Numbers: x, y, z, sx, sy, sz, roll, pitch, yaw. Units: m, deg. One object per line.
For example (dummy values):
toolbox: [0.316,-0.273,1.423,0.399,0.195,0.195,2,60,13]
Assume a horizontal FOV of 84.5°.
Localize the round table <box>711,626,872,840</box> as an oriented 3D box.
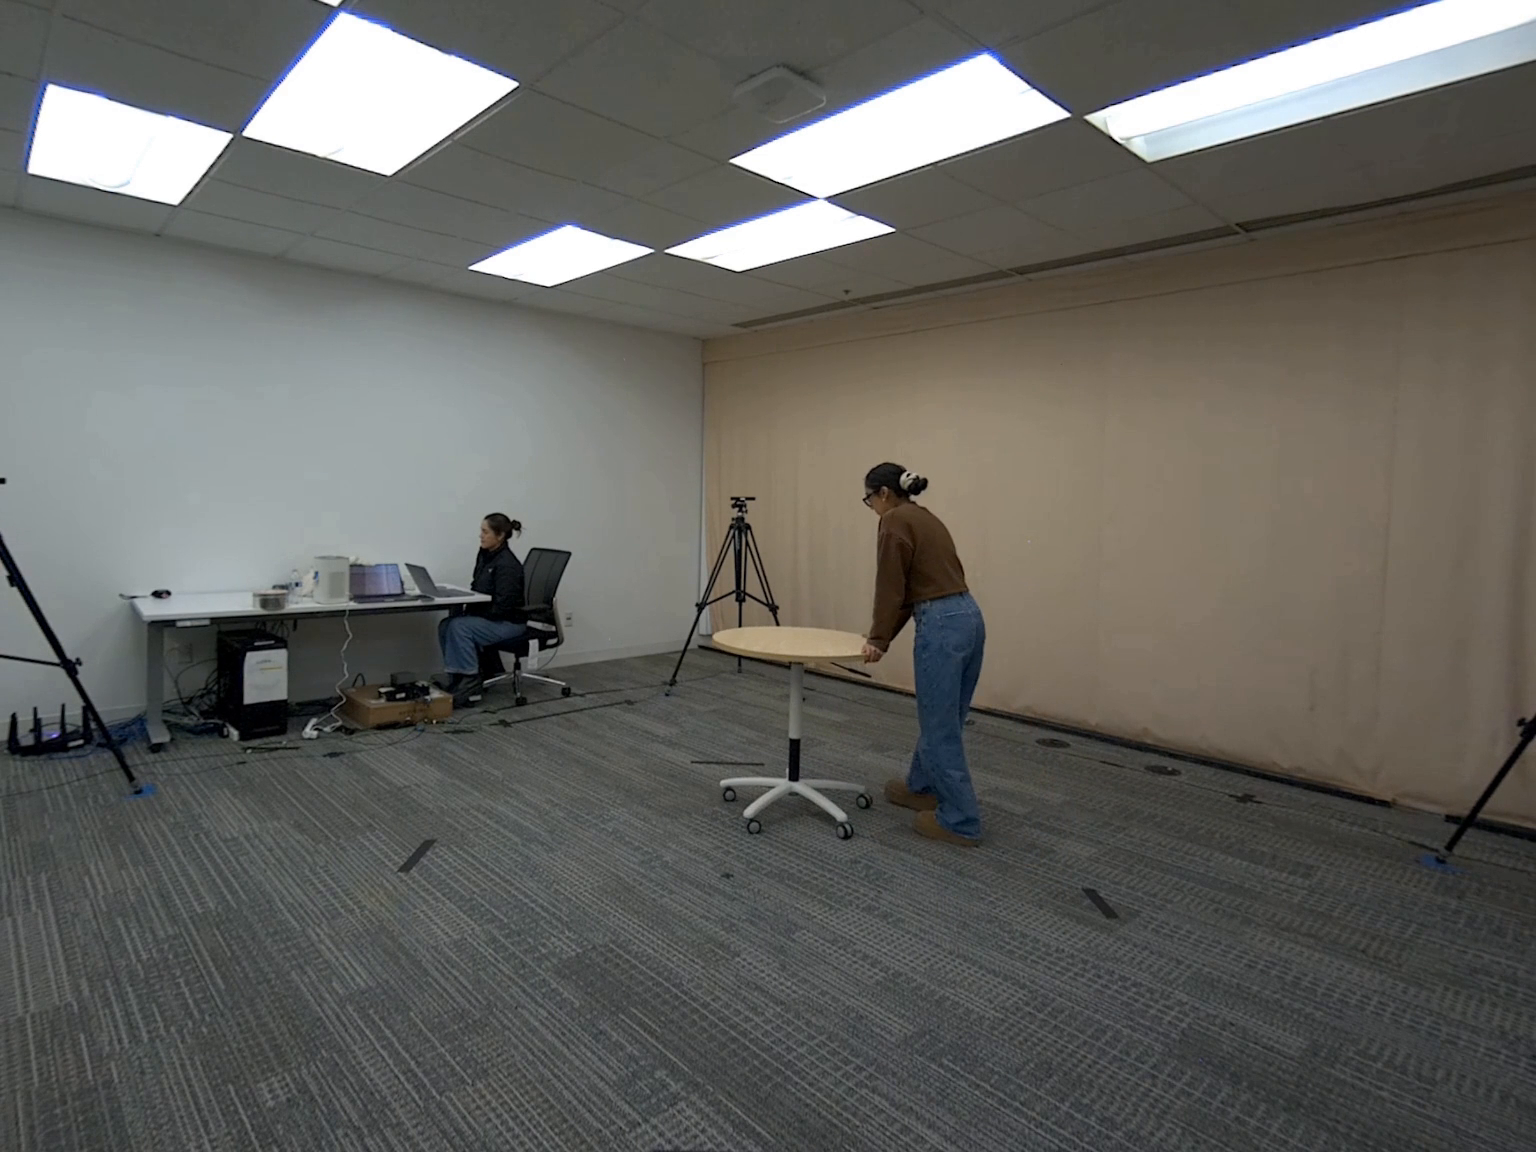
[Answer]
round table: [0.123,0.671,3.756,0.763,0.792,0.766,2,4,-1]
